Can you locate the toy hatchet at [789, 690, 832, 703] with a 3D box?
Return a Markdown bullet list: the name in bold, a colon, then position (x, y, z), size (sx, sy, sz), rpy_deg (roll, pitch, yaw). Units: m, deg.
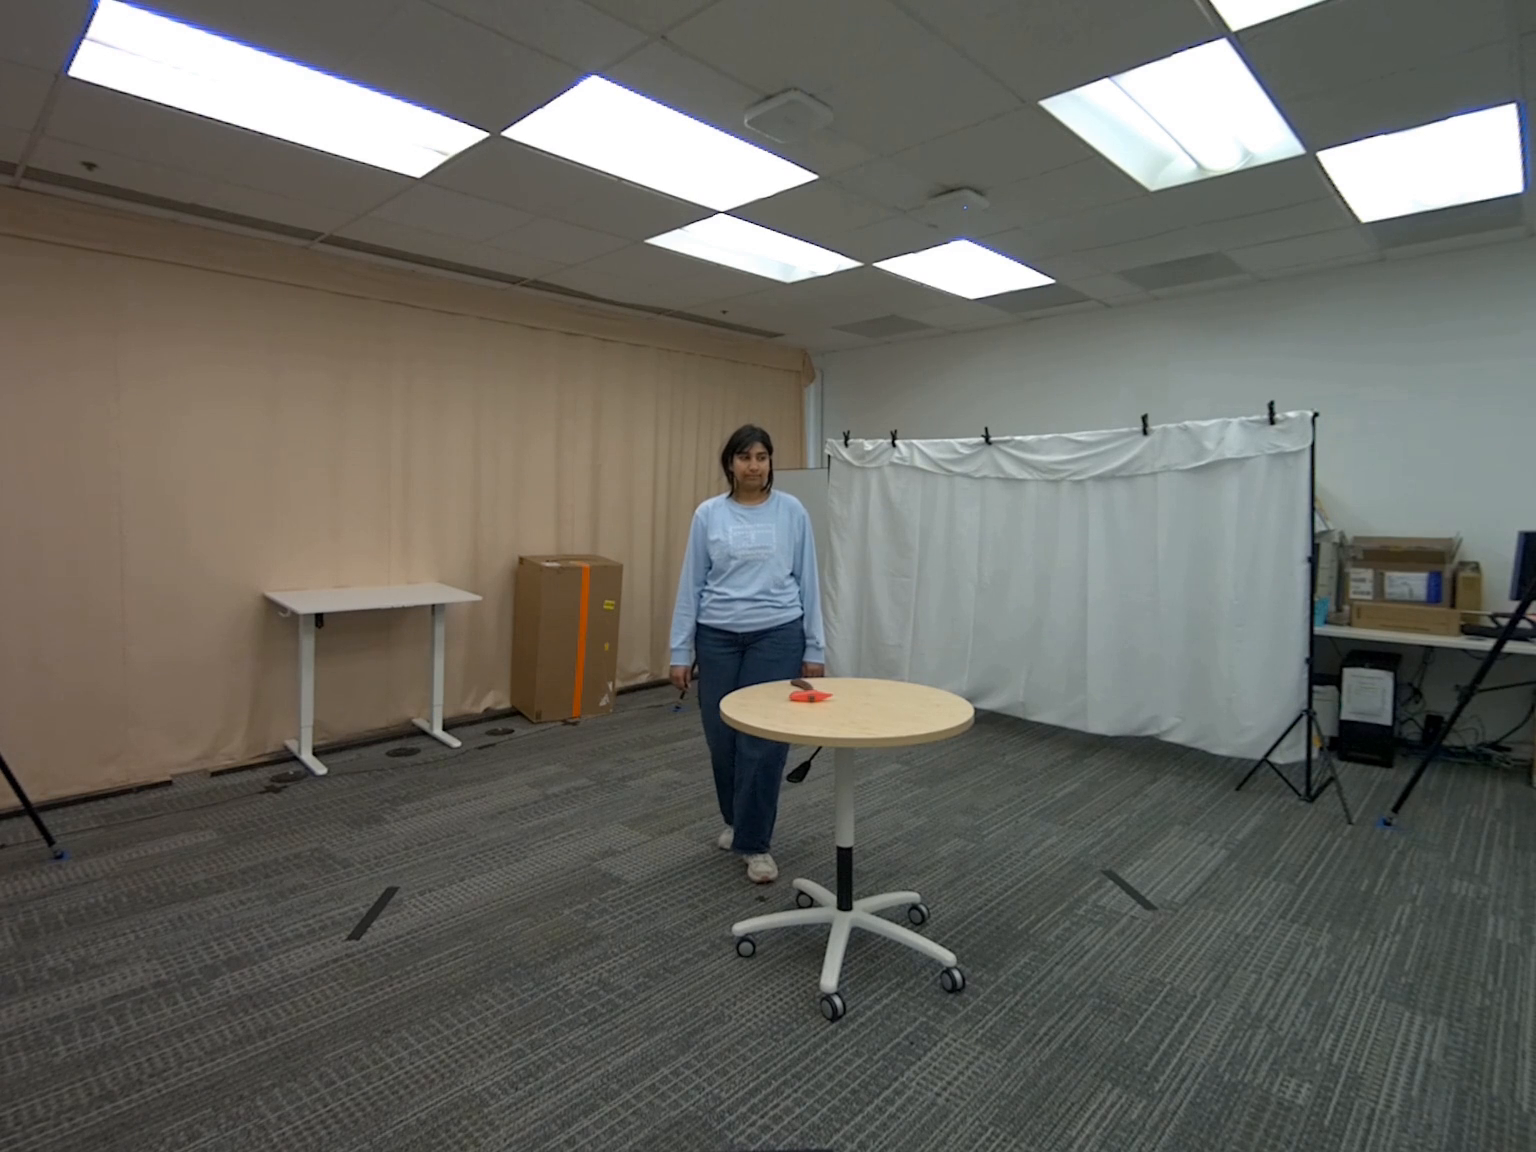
- **toy hatchet**: position (0.099, 0.373, 2.723), size (0.129, 0.029, 0.275), rpy_deg (-6, 5, -19)
